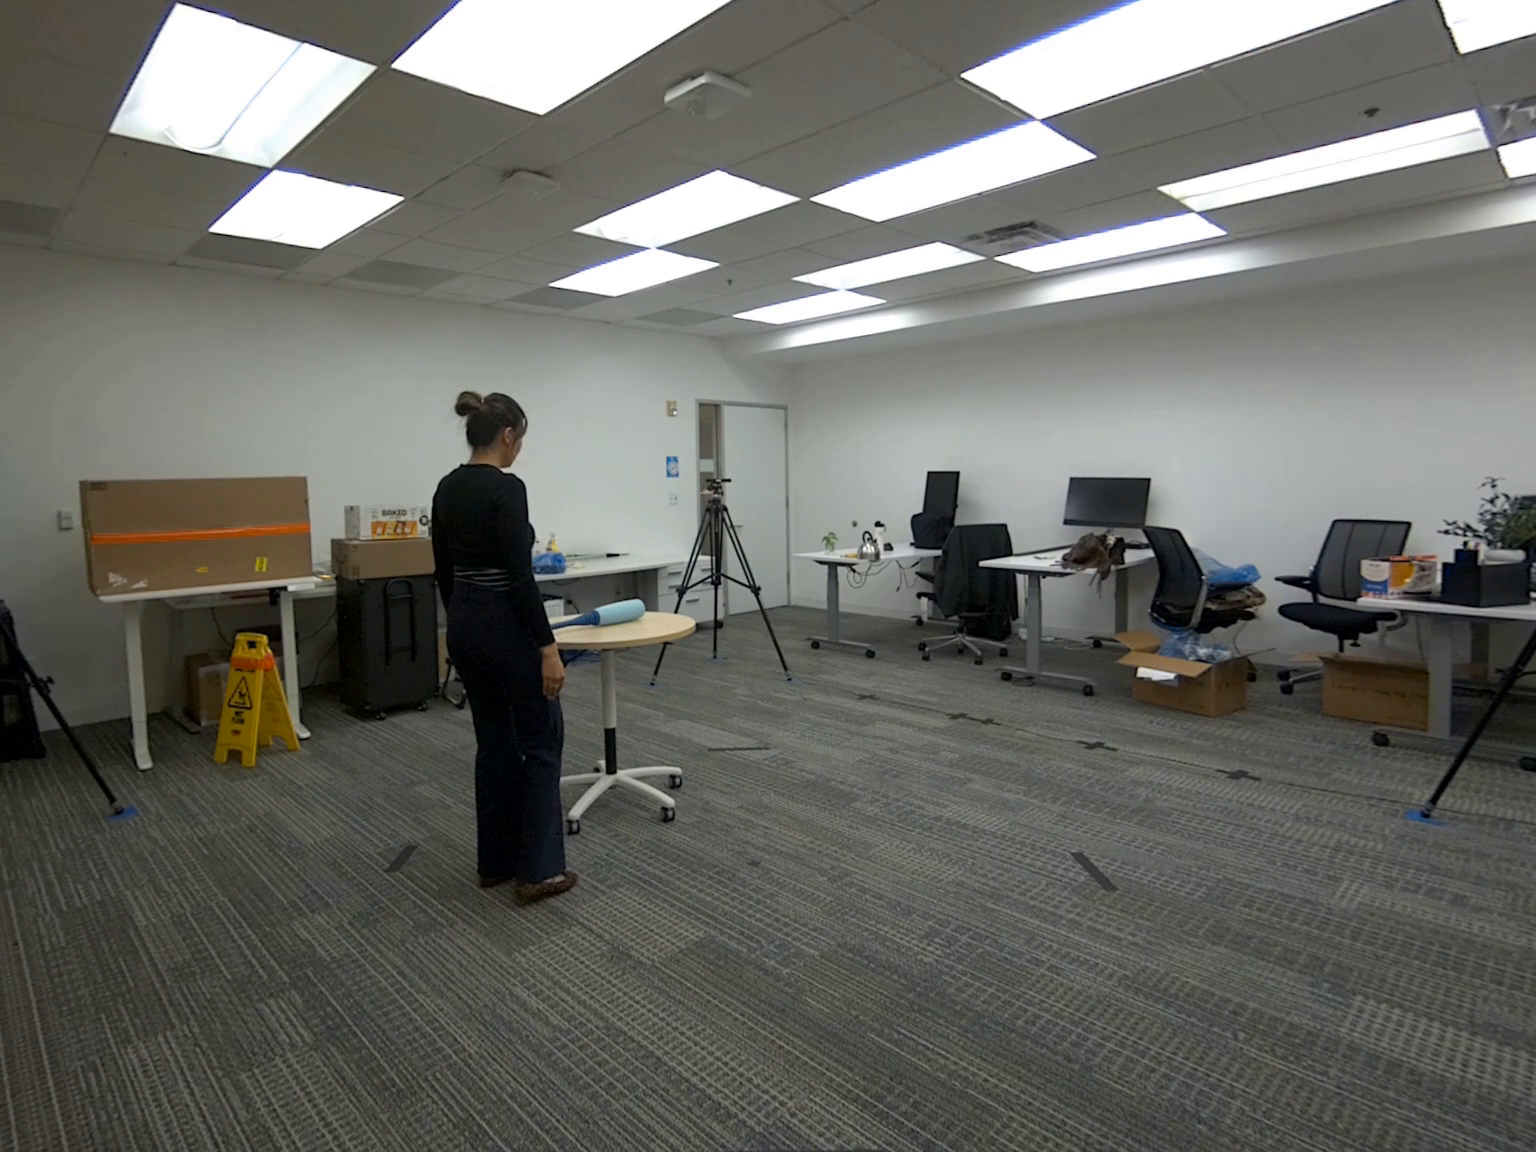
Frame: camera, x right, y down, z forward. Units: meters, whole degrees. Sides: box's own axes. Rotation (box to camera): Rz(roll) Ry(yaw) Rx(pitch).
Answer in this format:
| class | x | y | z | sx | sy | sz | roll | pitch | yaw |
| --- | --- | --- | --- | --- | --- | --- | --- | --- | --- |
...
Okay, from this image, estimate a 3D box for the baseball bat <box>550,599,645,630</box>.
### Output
| class | x | y | z | sx | sy | sz | roll | pitch | yaw |
| --- | --- | --- | --- | --- | --- | --- | --- | --- | --- |
| baseball bat | -0.753 | 0.182 | 3.608 | 0.092 | 0.088 | 0.530 | 4 | 10 | 44 |
